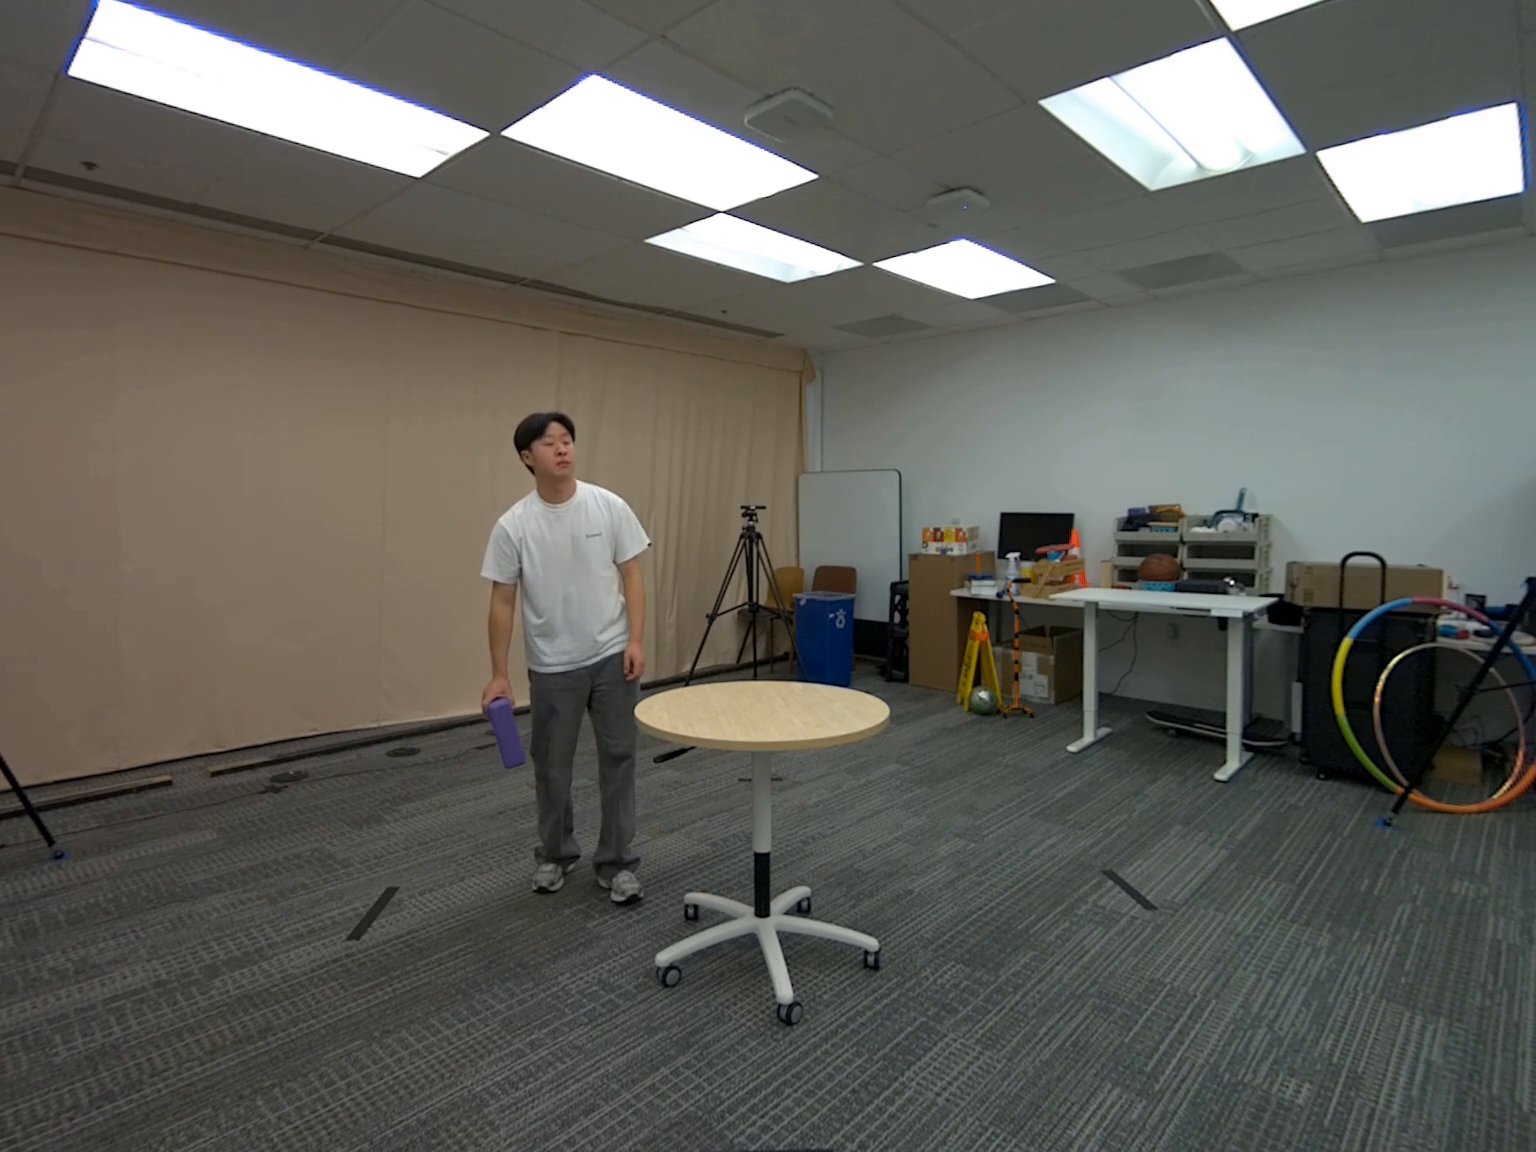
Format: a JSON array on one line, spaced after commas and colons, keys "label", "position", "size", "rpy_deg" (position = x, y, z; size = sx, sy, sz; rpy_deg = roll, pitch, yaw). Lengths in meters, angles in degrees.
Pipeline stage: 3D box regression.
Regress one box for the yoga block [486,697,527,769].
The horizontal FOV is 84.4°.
[{"label": "yoga block", "position": [-0.906, 0.540, 2.941], "size": [0.075, 0.229, 0.151], "rpy_deg": [-13, 4, -17]}]
